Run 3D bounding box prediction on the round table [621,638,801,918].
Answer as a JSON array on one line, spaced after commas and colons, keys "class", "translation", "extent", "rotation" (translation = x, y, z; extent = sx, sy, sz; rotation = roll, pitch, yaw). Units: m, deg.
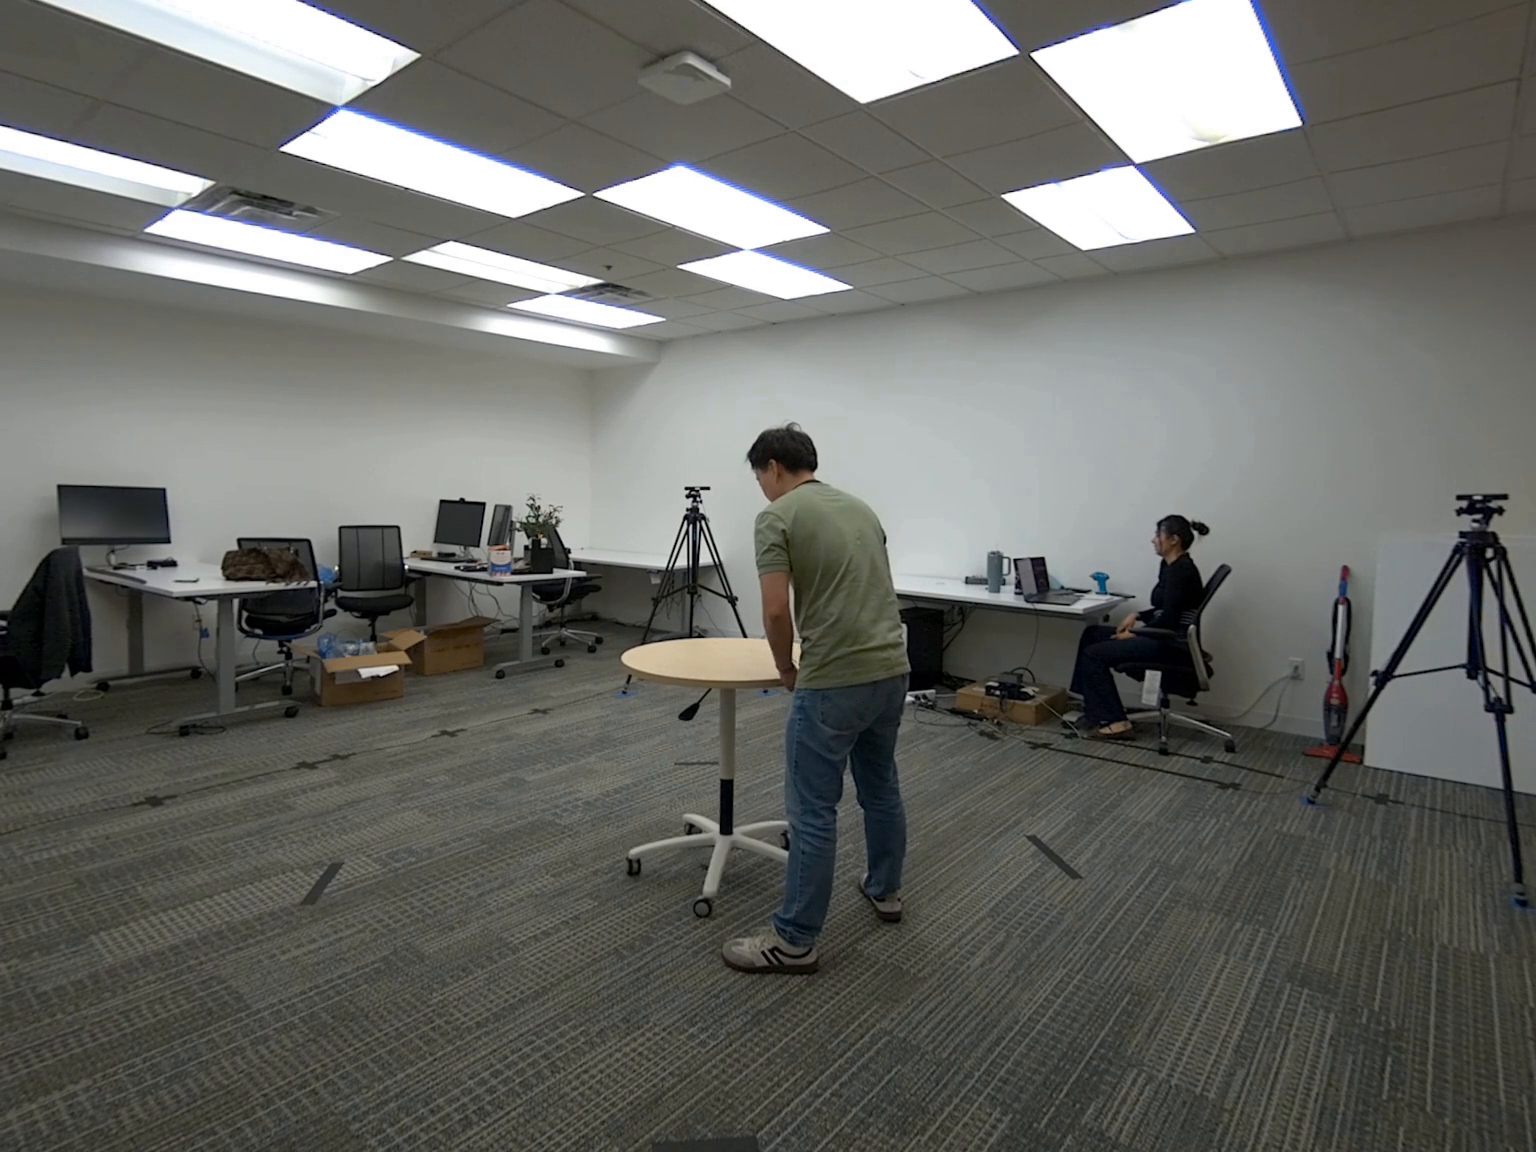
[{"class": "round table", "translation": [-0.165, 0.679, 3.064], "extent": [0.763, 0.791, 0.768], "rotation": [1, 4, -2]}]
